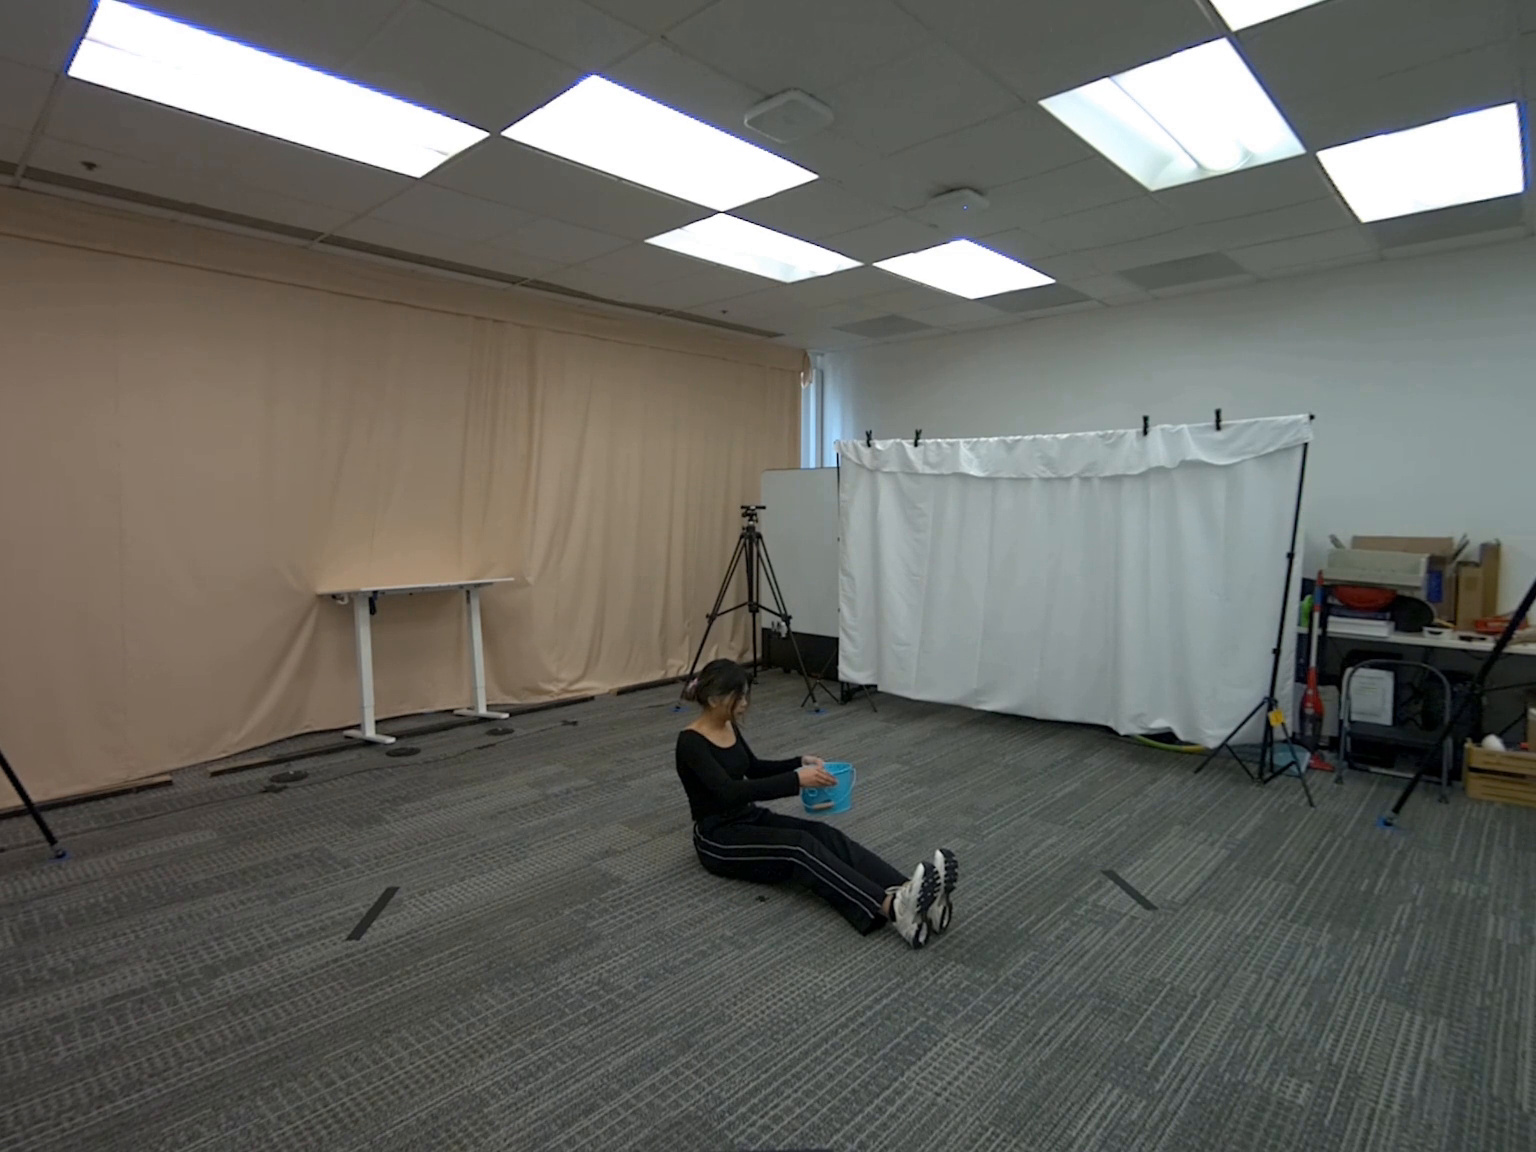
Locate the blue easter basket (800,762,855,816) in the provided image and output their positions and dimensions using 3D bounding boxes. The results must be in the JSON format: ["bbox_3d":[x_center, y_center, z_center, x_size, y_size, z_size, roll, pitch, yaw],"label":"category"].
[{"bbox_3d":[0.219,0.827,3.261,0.243,0.156,0.243,-6,-2,-2],"label":"blue easter basket"}]
